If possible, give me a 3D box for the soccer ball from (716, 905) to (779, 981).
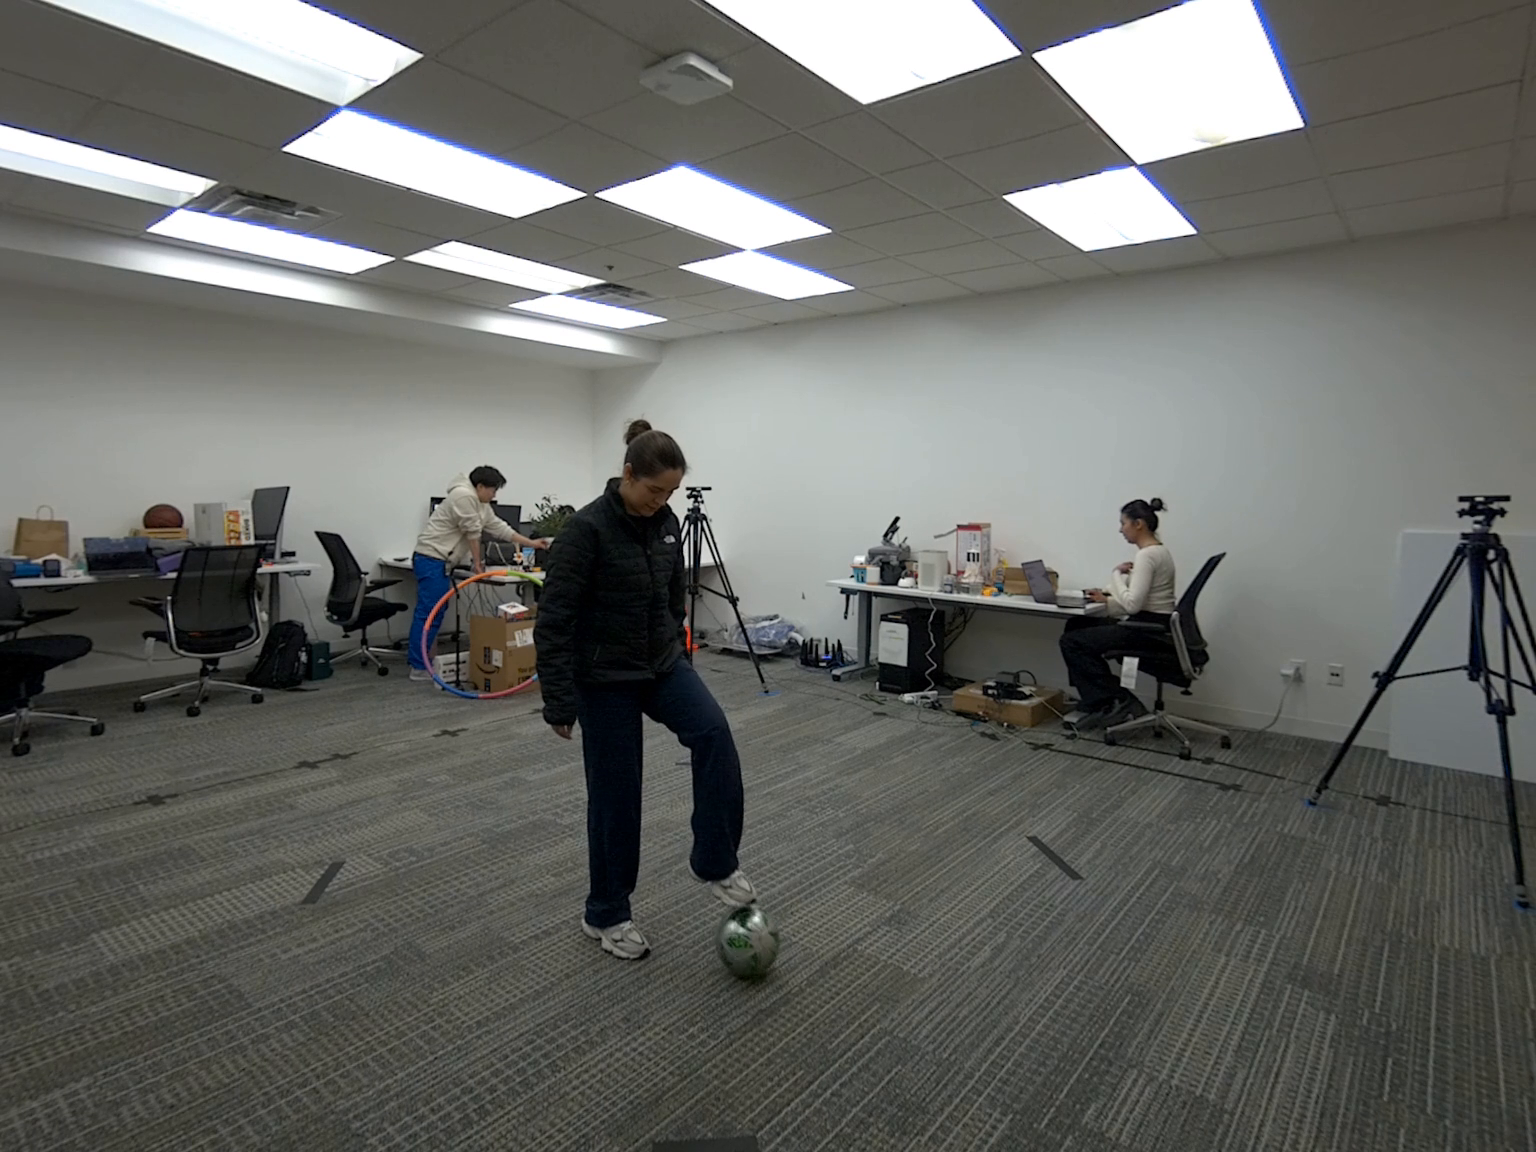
[{"bbox_3d":[-0.069,1.041,2.447,0.187,0.187,0.188,1,4,-2],"label":"soccer ball"}]
